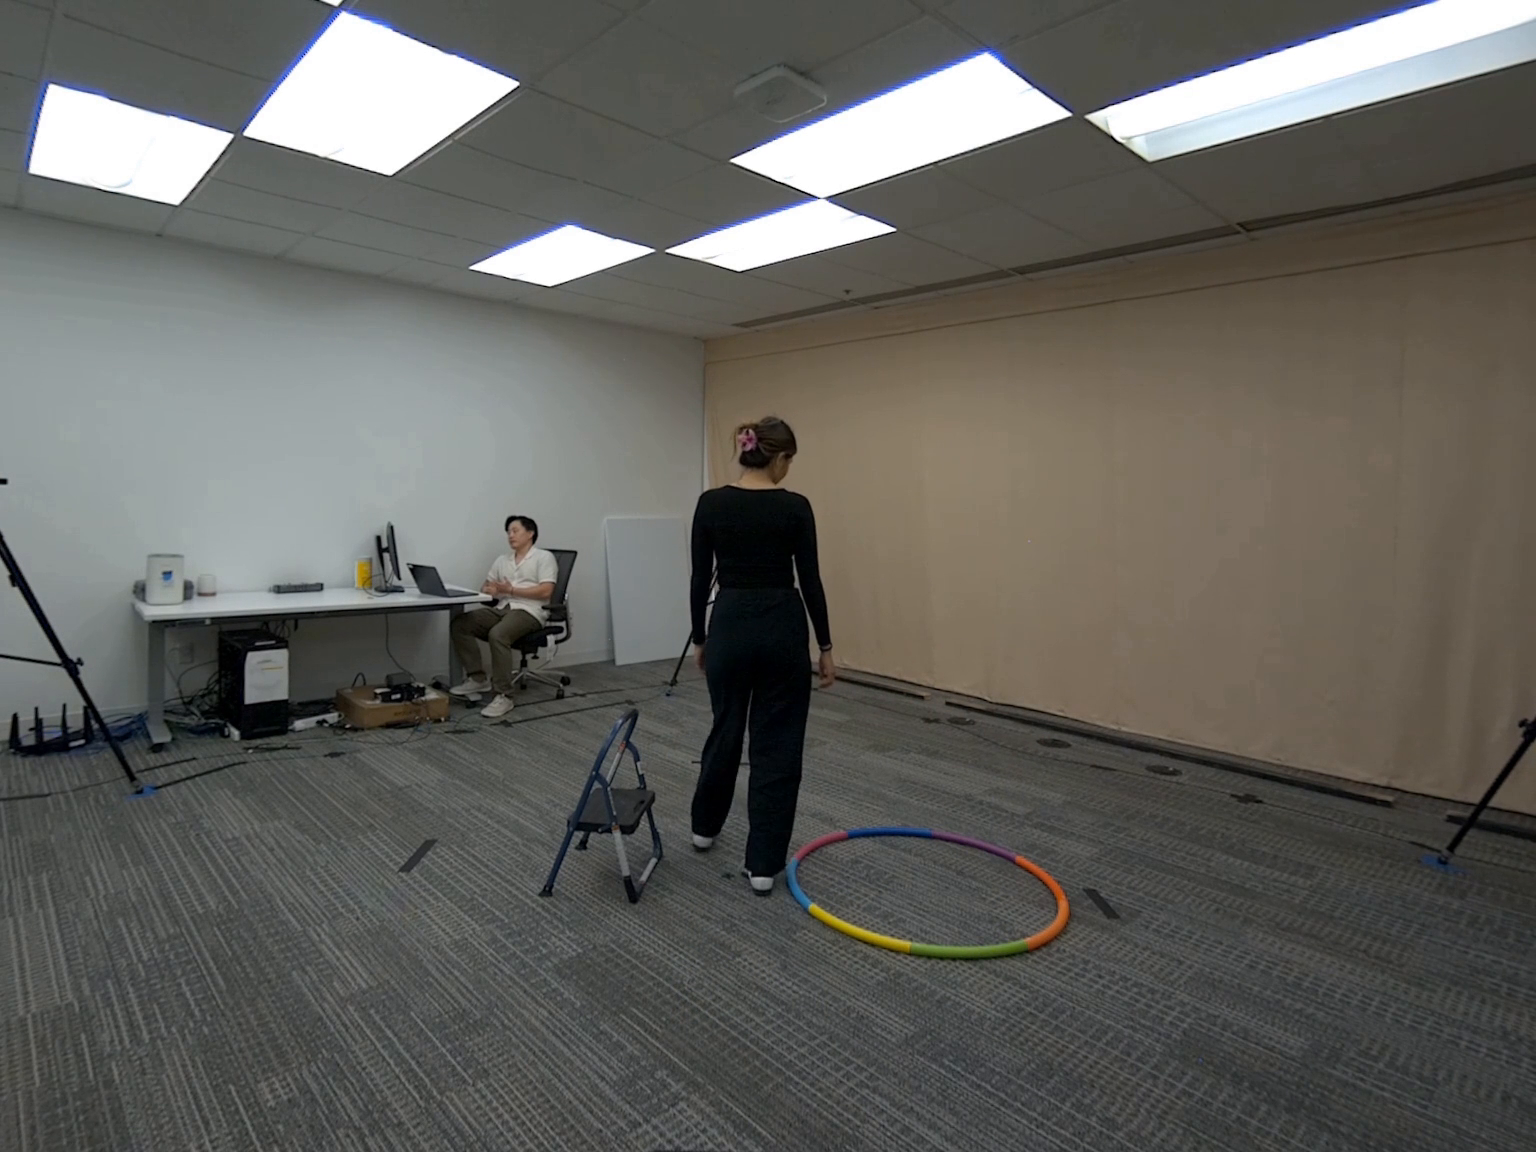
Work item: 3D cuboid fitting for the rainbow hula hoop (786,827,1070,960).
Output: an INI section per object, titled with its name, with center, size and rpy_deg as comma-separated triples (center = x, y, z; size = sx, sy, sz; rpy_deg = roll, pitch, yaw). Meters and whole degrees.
[rainbow hula hoop]
center = 0.549, 1.095, 3.058
size = 0.978, 0.035, 0.982
rpy_deg = 1, 5, -1
